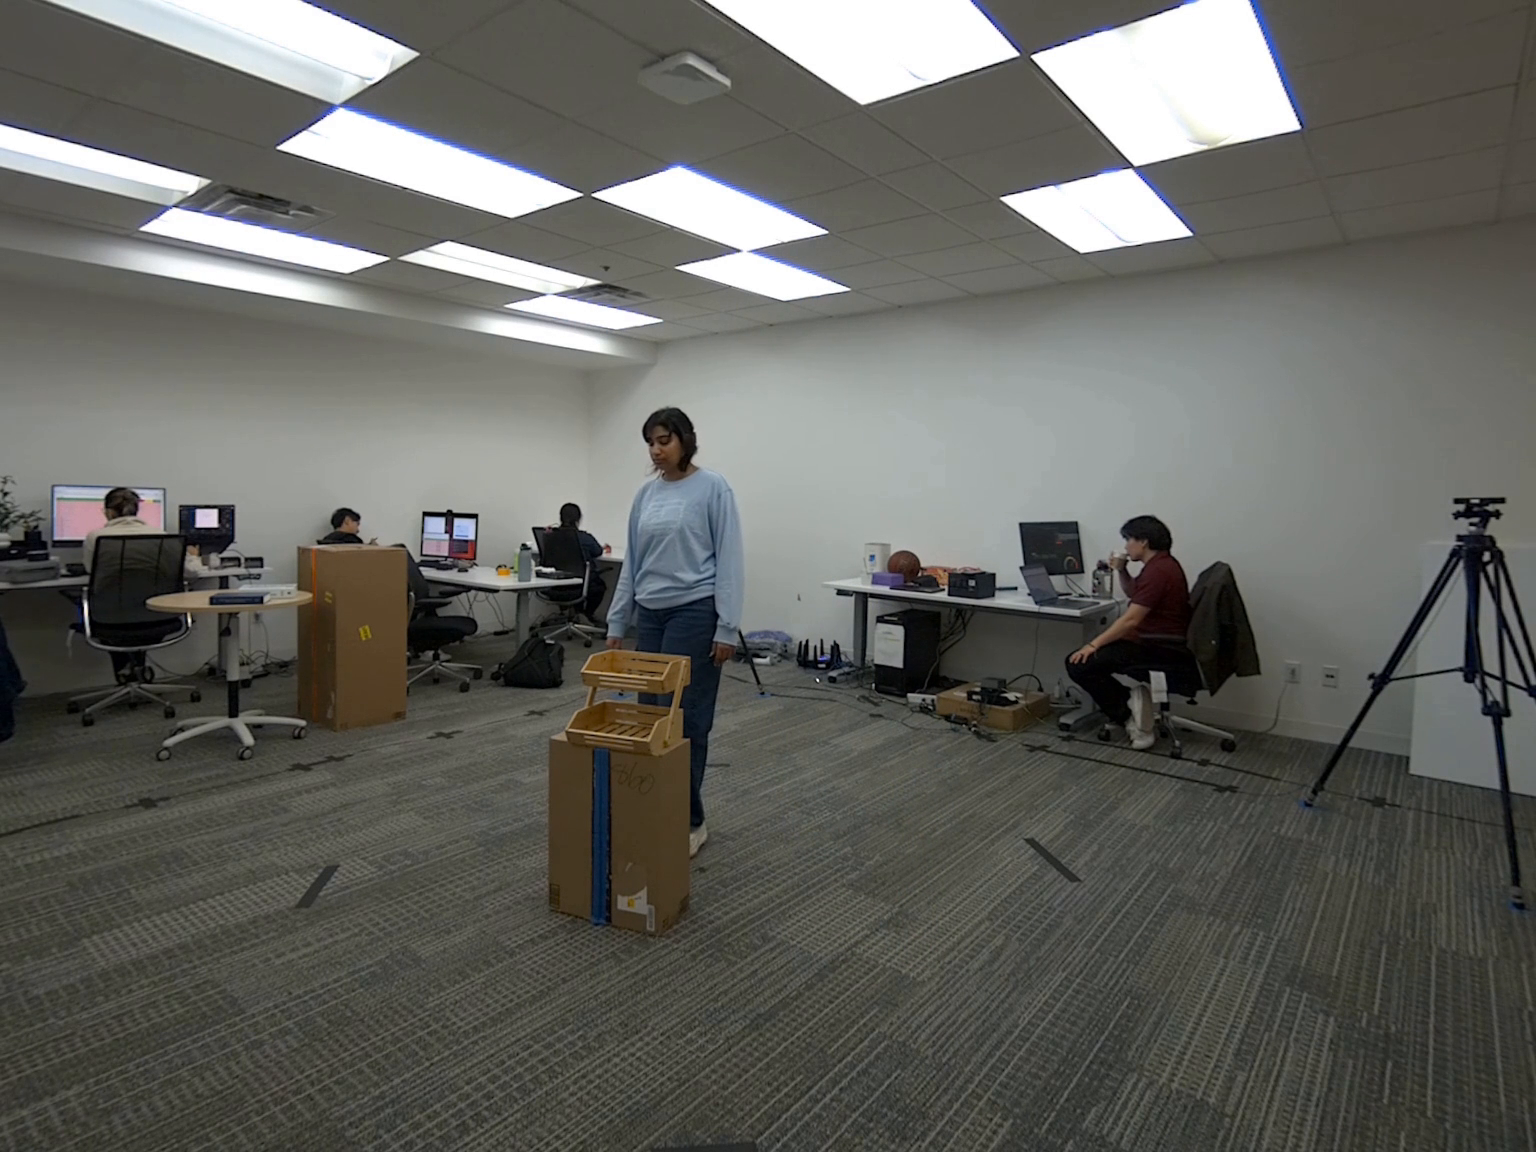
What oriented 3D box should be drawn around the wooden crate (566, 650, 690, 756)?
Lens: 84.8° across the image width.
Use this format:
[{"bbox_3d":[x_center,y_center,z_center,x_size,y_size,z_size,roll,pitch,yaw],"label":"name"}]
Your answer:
[{"bbox_3d":[-0.467,0.396,2.789,0.332,0.273,0.296,3,3,21],"label":"wooden crate"}]
